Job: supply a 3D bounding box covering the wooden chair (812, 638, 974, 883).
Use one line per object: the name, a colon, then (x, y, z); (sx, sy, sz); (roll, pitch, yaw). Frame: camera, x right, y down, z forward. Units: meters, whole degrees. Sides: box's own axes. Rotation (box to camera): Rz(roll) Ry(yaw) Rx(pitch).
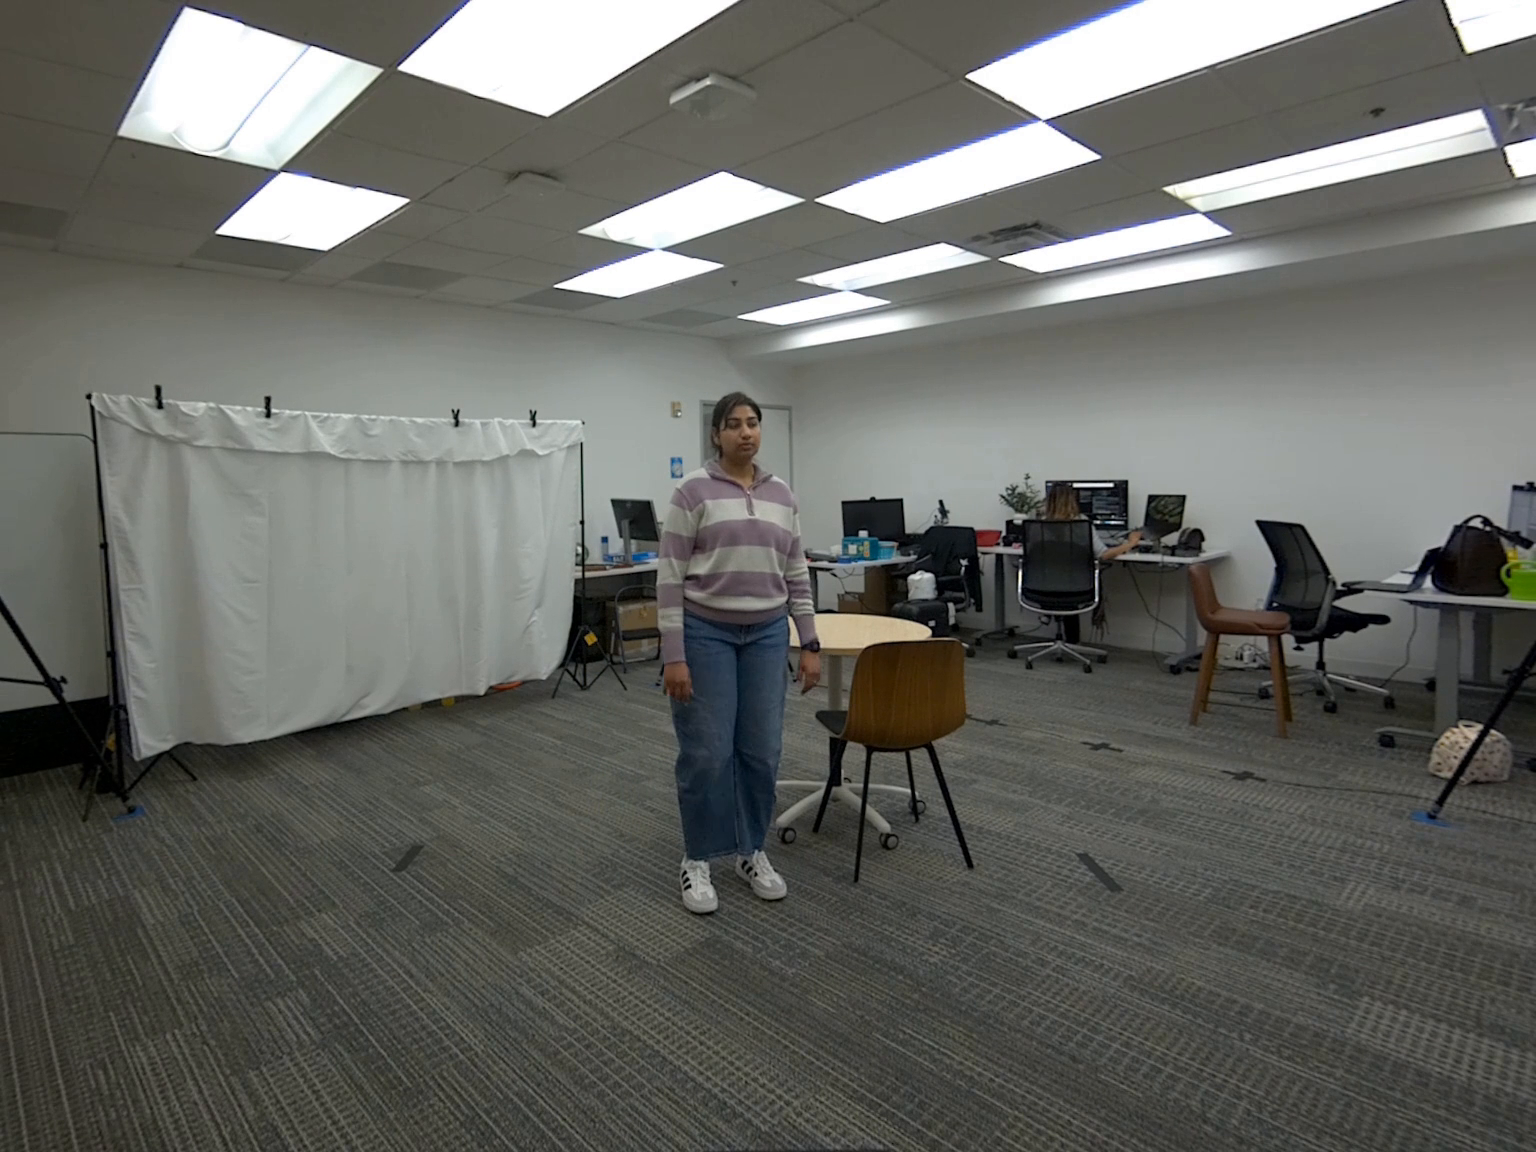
wooden chair: (0.442, 0.601, 3.191); (0.472, 0.871, 0.534); (-3, 8, -14)
